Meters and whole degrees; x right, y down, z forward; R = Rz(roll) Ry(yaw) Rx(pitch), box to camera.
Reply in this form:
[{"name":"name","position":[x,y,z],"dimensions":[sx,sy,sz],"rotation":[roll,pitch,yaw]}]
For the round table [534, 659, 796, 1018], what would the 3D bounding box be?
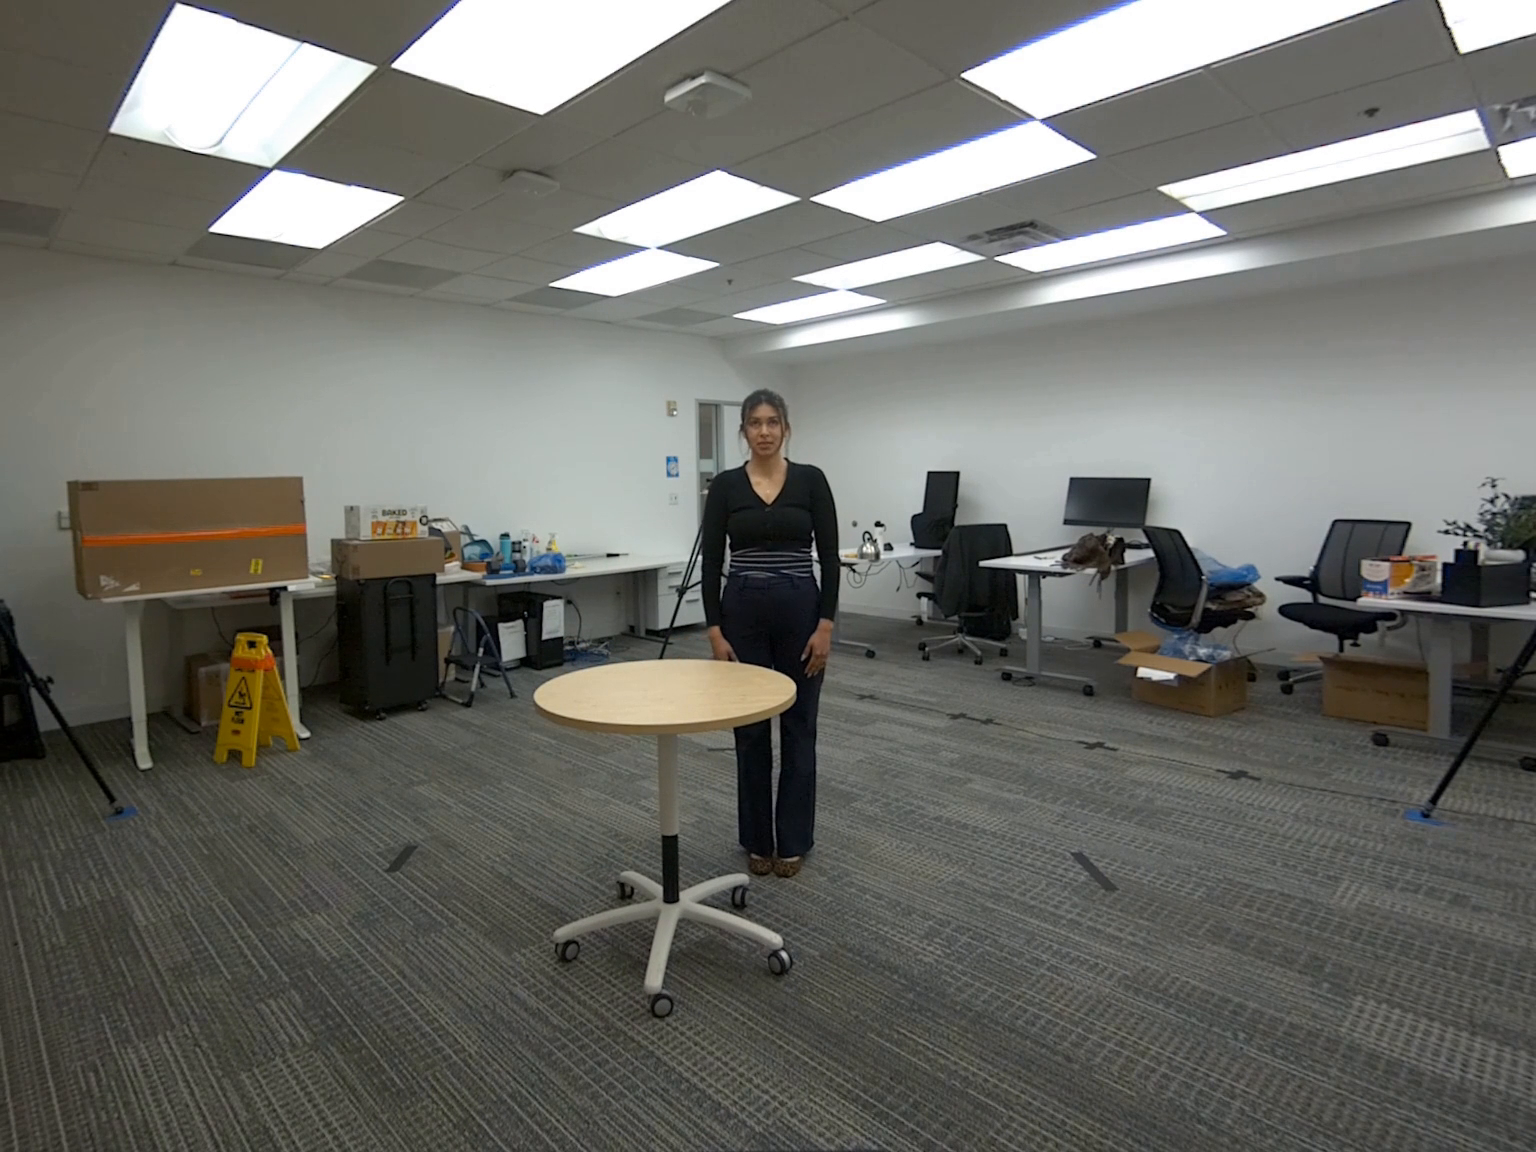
[{"name":"round table","position":[-0.288,0.725,2.543],"dimensions":[0.763,0.791,0.768],"rotation":[-2,5,-2]}]
